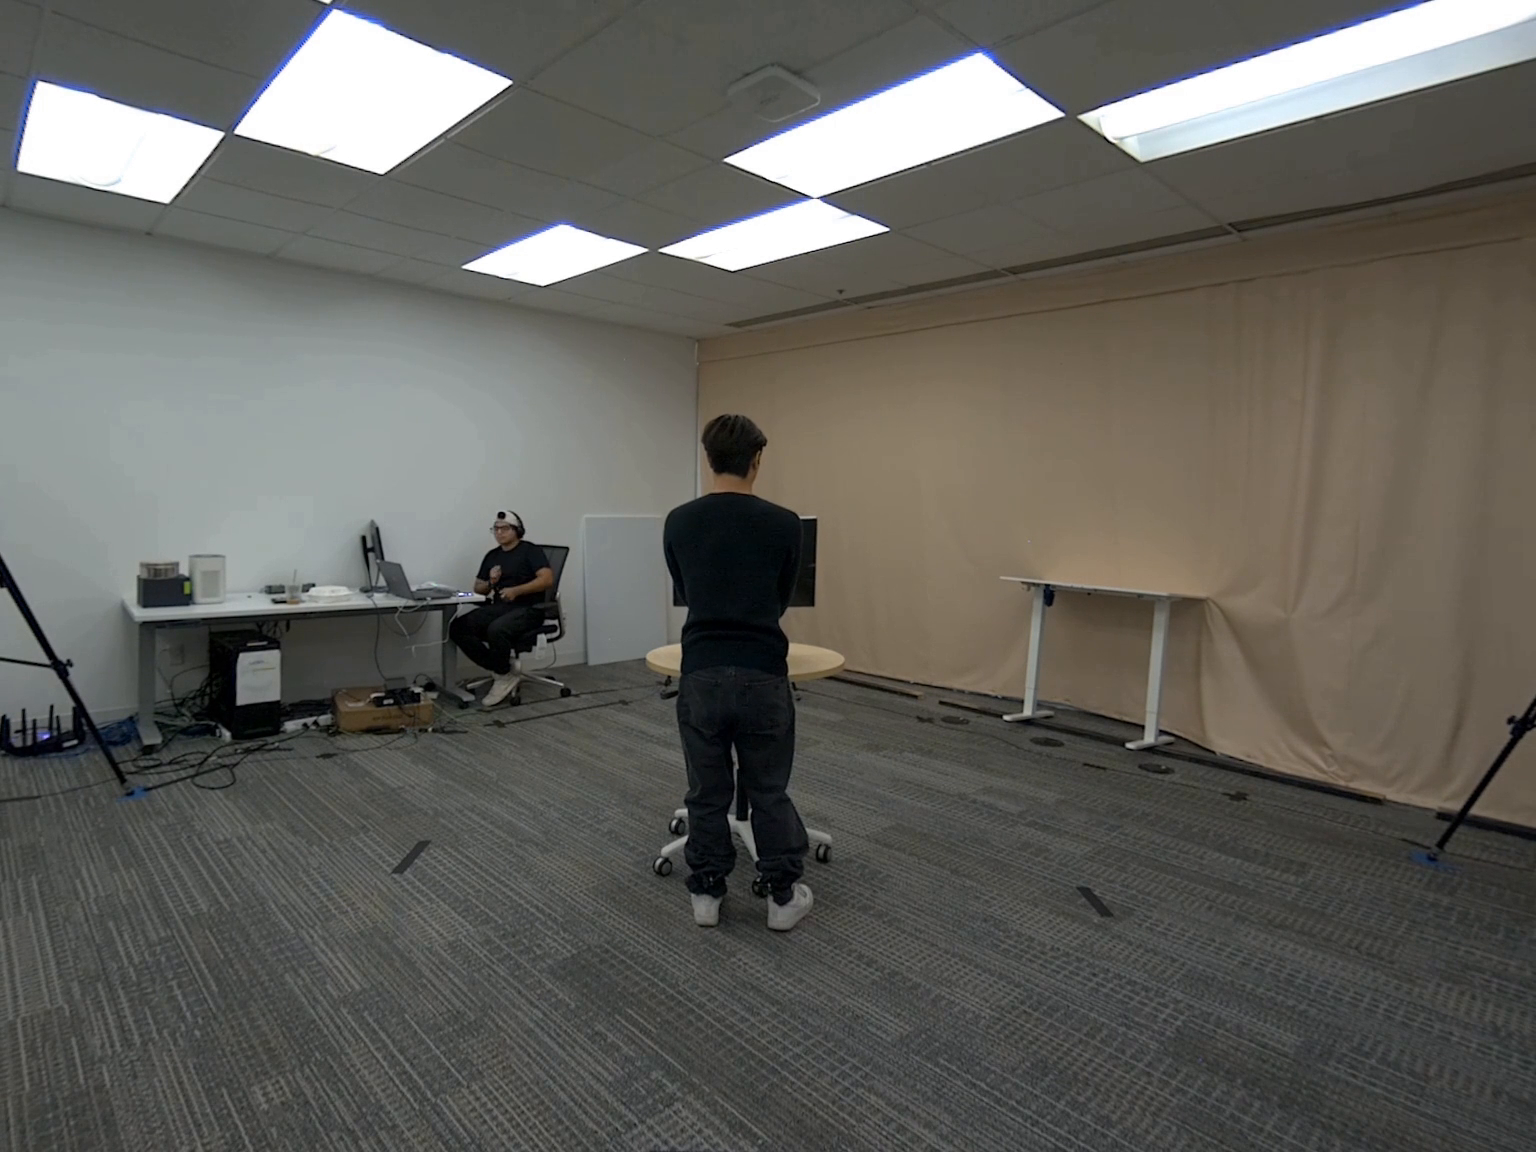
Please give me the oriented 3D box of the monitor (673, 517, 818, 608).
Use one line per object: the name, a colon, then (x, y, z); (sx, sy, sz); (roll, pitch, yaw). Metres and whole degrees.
monitor: (-0.082, 0.058, 3.209); (0.538, 0.521, 0.188); (3, 4, -1)
